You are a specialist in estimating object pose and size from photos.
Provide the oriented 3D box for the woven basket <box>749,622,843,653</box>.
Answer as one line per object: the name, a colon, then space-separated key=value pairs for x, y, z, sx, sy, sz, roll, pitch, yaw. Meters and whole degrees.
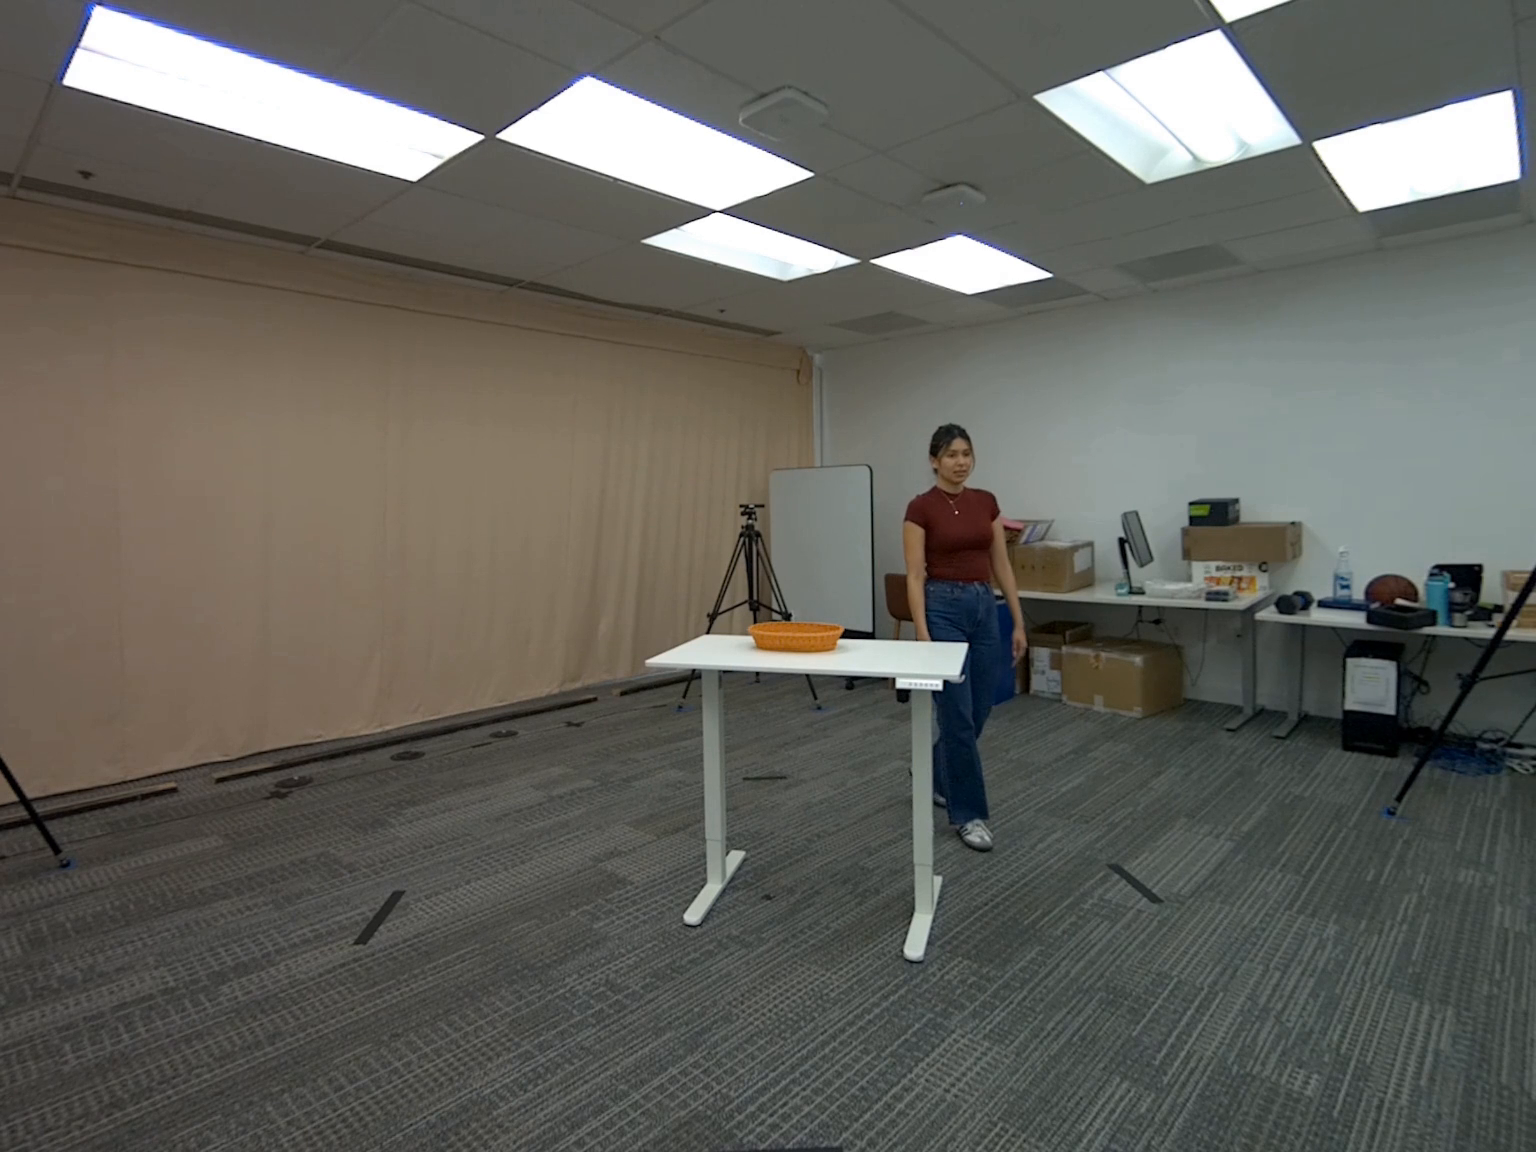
woven basket: x=0.105 y=0.227 z=2.991 sx=0.358 sy=0.073 sz=0.248 roll=0 pitch=6 yaw=20
